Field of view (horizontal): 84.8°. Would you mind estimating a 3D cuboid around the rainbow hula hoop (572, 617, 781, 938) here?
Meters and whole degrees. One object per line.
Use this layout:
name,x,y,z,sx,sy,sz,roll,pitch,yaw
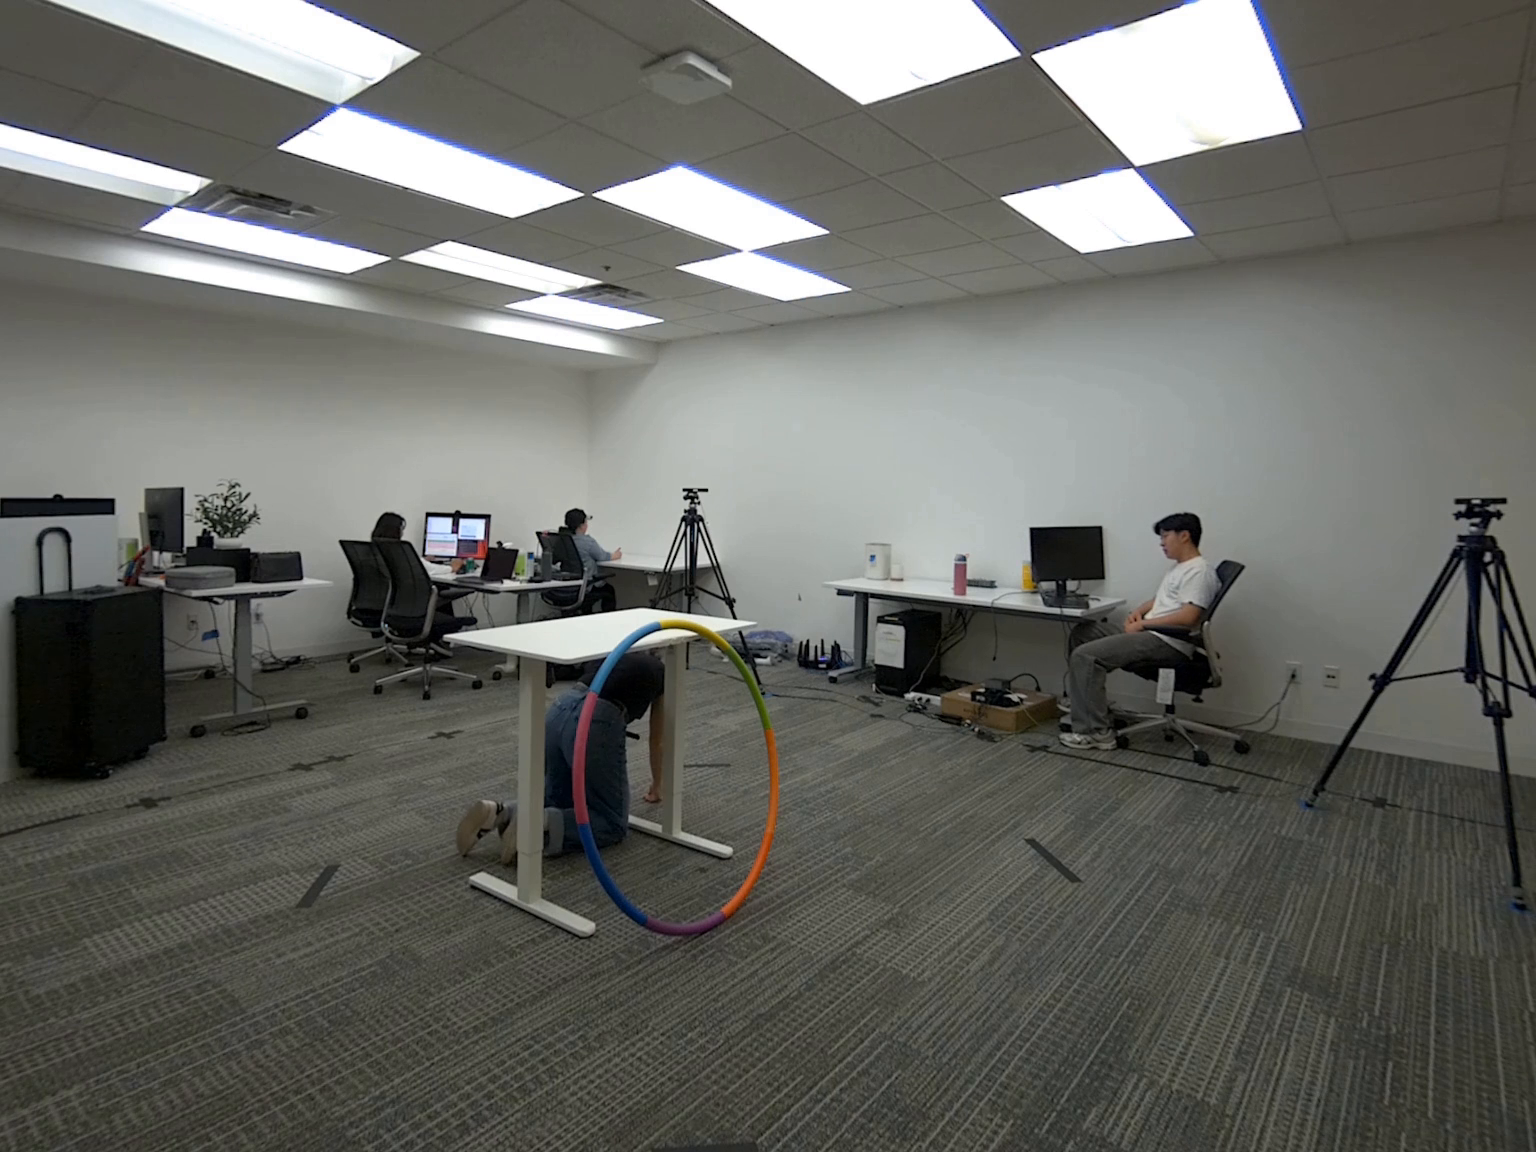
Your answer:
rainbow hula hoop,-0.253,0.627,2.763,0.036,0.985,0.951,-16,-6,35
